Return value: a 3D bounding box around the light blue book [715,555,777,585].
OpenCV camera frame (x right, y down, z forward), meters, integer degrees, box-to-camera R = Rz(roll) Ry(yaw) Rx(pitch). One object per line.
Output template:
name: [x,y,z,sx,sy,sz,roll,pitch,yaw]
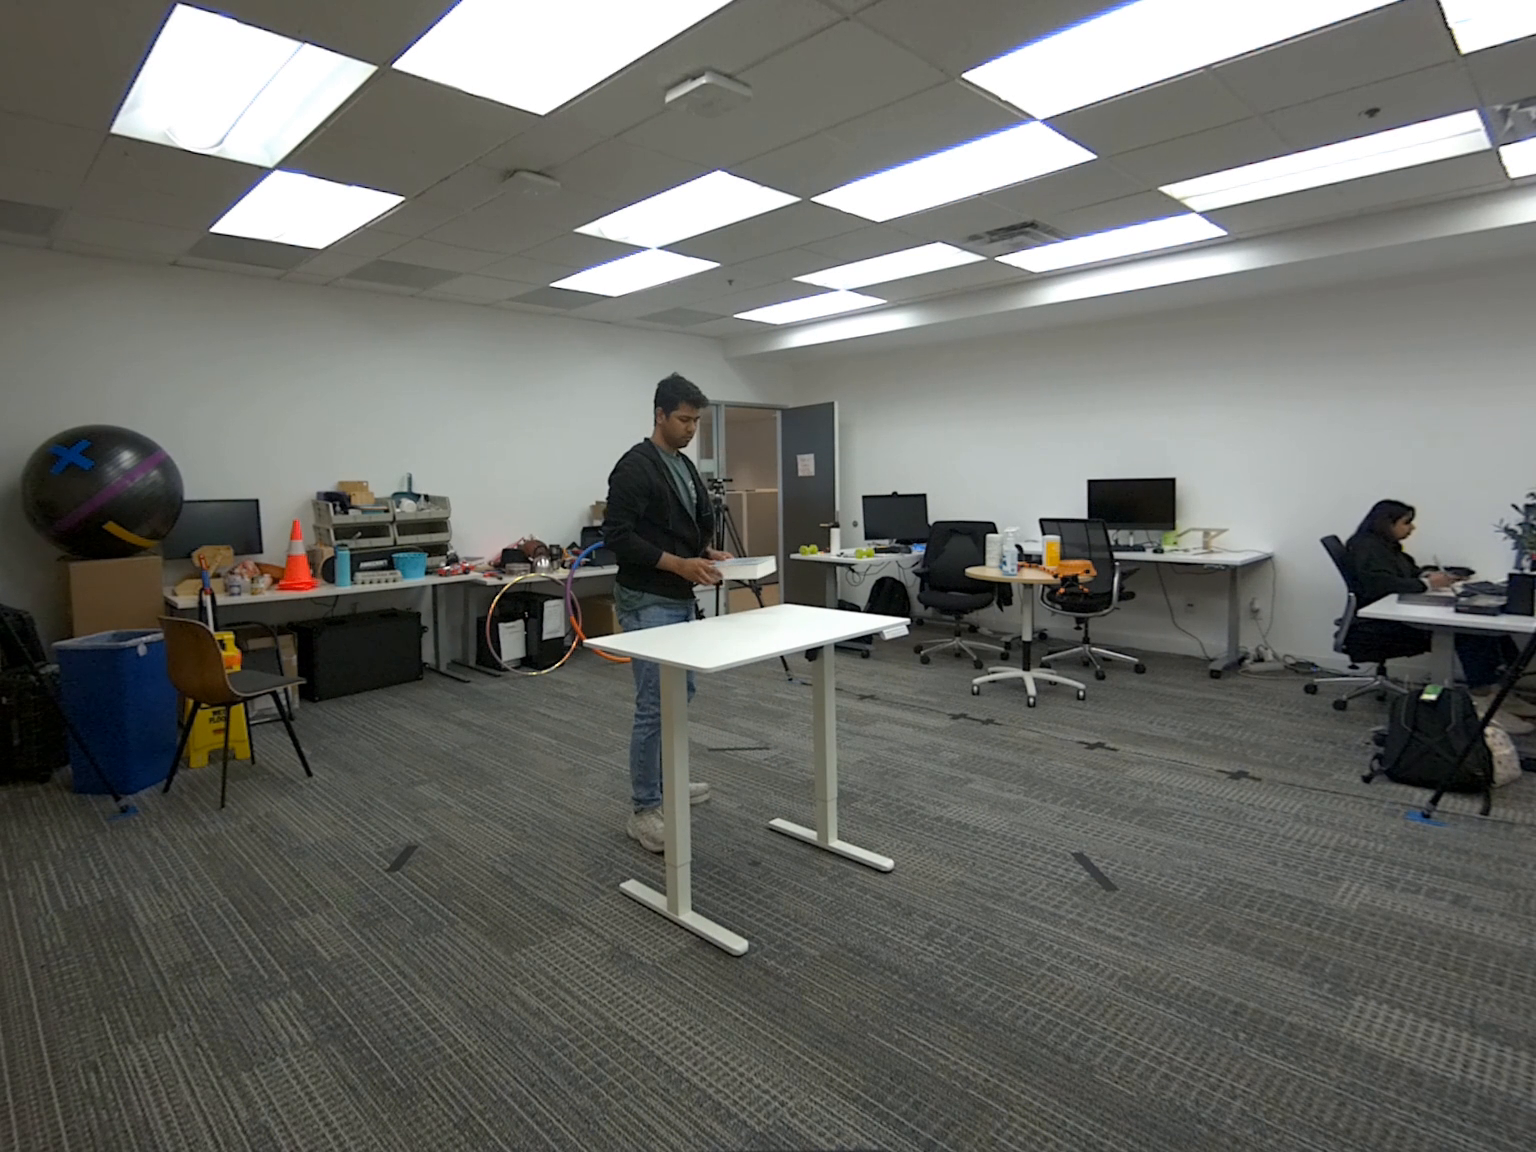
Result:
light blue book: [-0.130,-0.025,3.316,0.267,0.058,0.188,-3,9,26]
